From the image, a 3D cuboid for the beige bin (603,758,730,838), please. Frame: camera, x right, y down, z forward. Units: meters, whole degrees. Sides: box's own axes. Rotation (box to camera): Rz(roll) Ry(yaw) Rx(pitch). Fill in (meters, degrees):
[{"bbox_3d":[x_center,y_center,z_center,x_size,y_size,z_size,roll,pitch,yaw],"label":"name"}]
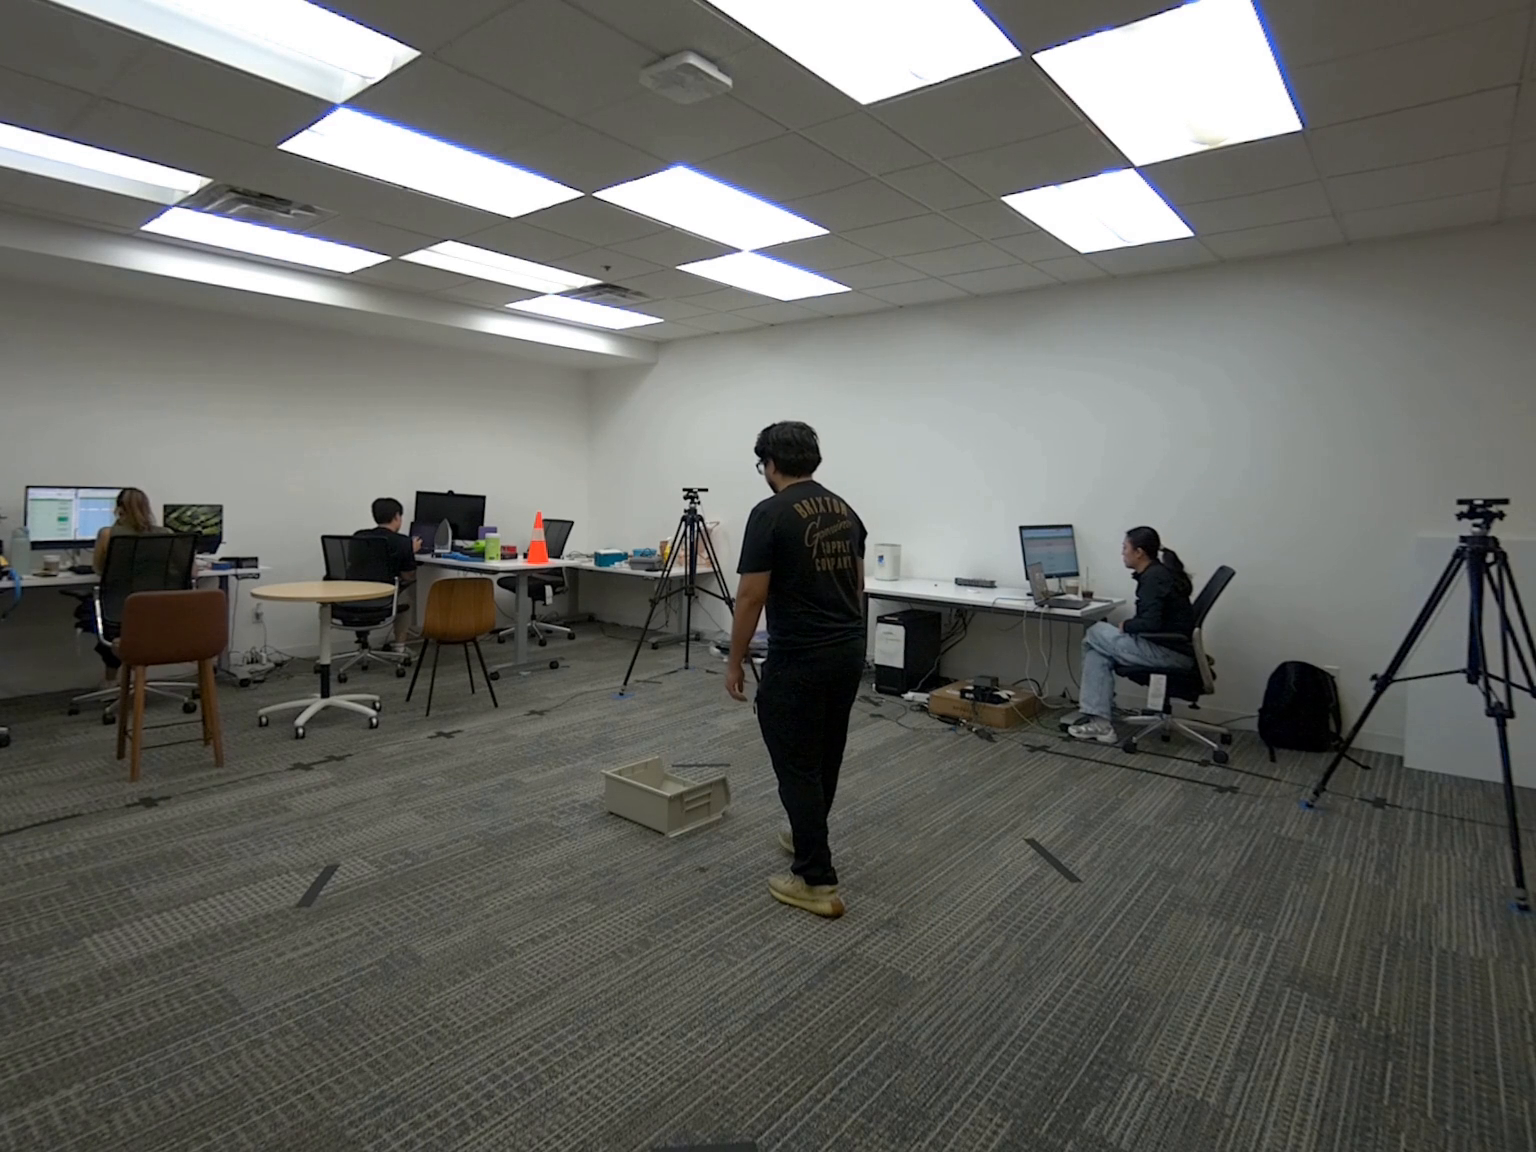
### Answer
[{"bbox_3d":[-0.449,0.926,3.645,0.437,0.188,0.366,6,8,40],"label":"beige bin"}]
